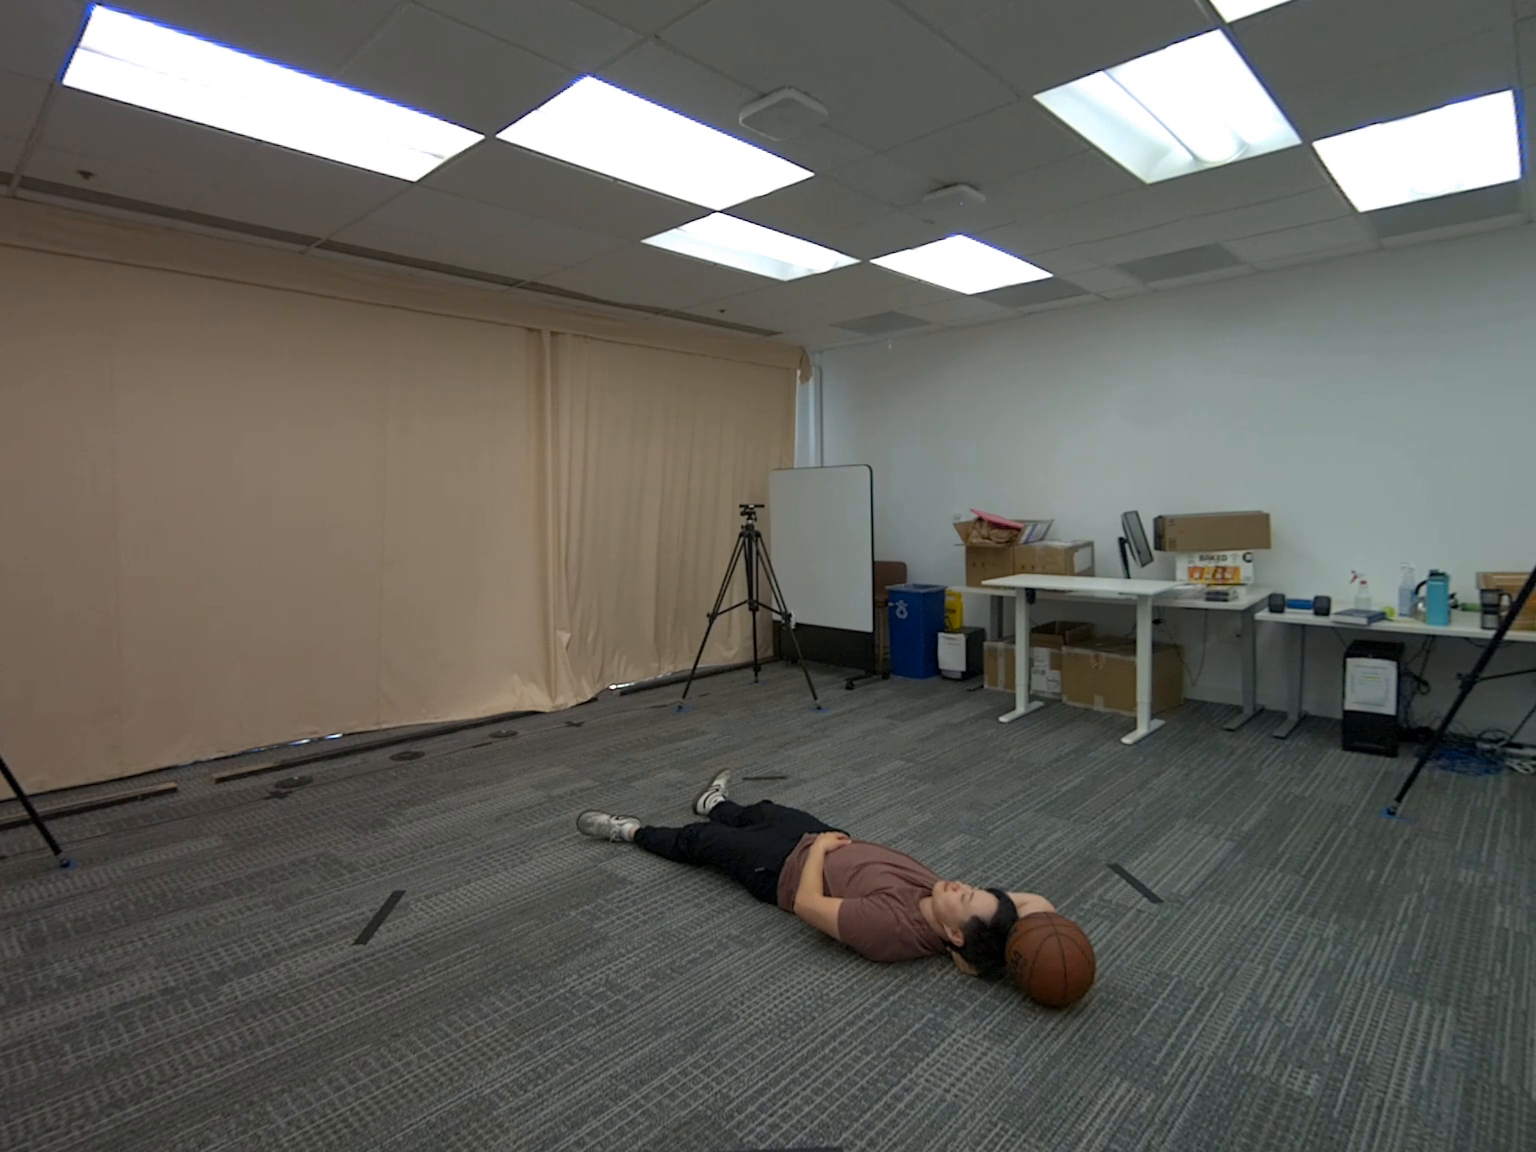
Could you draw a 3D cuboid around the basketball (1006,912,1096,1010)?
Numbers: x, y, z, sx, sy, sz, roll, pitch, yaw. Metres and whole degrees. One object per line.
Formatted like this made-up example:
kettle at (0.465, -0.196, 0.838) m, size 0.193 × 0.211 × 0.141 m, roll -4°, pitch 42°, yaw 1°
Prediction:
basketball at (0.789, 1.061, 2.346) m, size 0.236 × 0.235 × 0.236 m, roll -1°, pitch 3°, yaw -2°
